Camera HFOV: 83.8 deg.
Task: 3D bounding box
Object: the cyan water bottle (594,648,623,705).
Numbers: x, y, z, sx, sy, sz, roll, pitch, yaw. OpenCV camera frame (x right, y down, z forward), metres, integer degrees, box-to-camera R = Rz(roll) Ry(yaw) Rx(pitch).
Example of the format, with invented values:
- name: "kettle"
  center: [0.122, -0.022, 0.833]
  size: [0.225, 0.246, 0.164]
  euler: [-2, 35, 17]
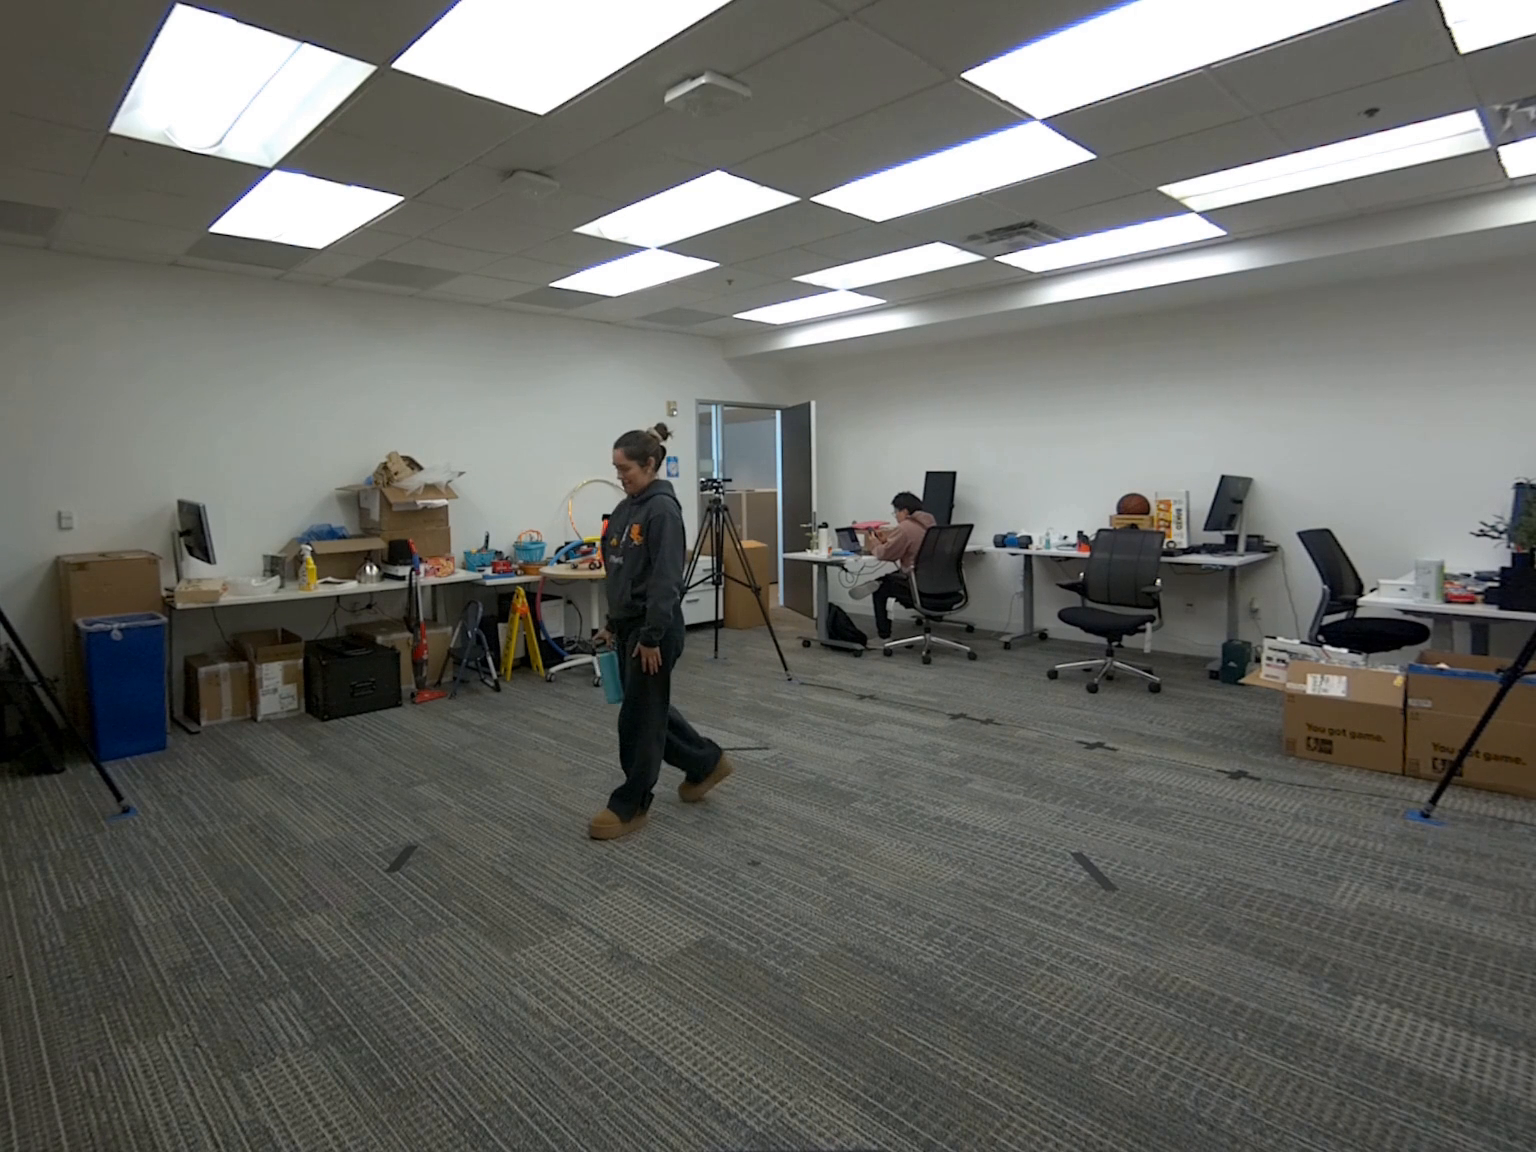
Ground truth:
- name: "cyan water bottle"
  center: [-0.683, 0.405, 3.687]
  size: [0.092, 0.281, 0.093]
  euler: [-12, 6, 0]
